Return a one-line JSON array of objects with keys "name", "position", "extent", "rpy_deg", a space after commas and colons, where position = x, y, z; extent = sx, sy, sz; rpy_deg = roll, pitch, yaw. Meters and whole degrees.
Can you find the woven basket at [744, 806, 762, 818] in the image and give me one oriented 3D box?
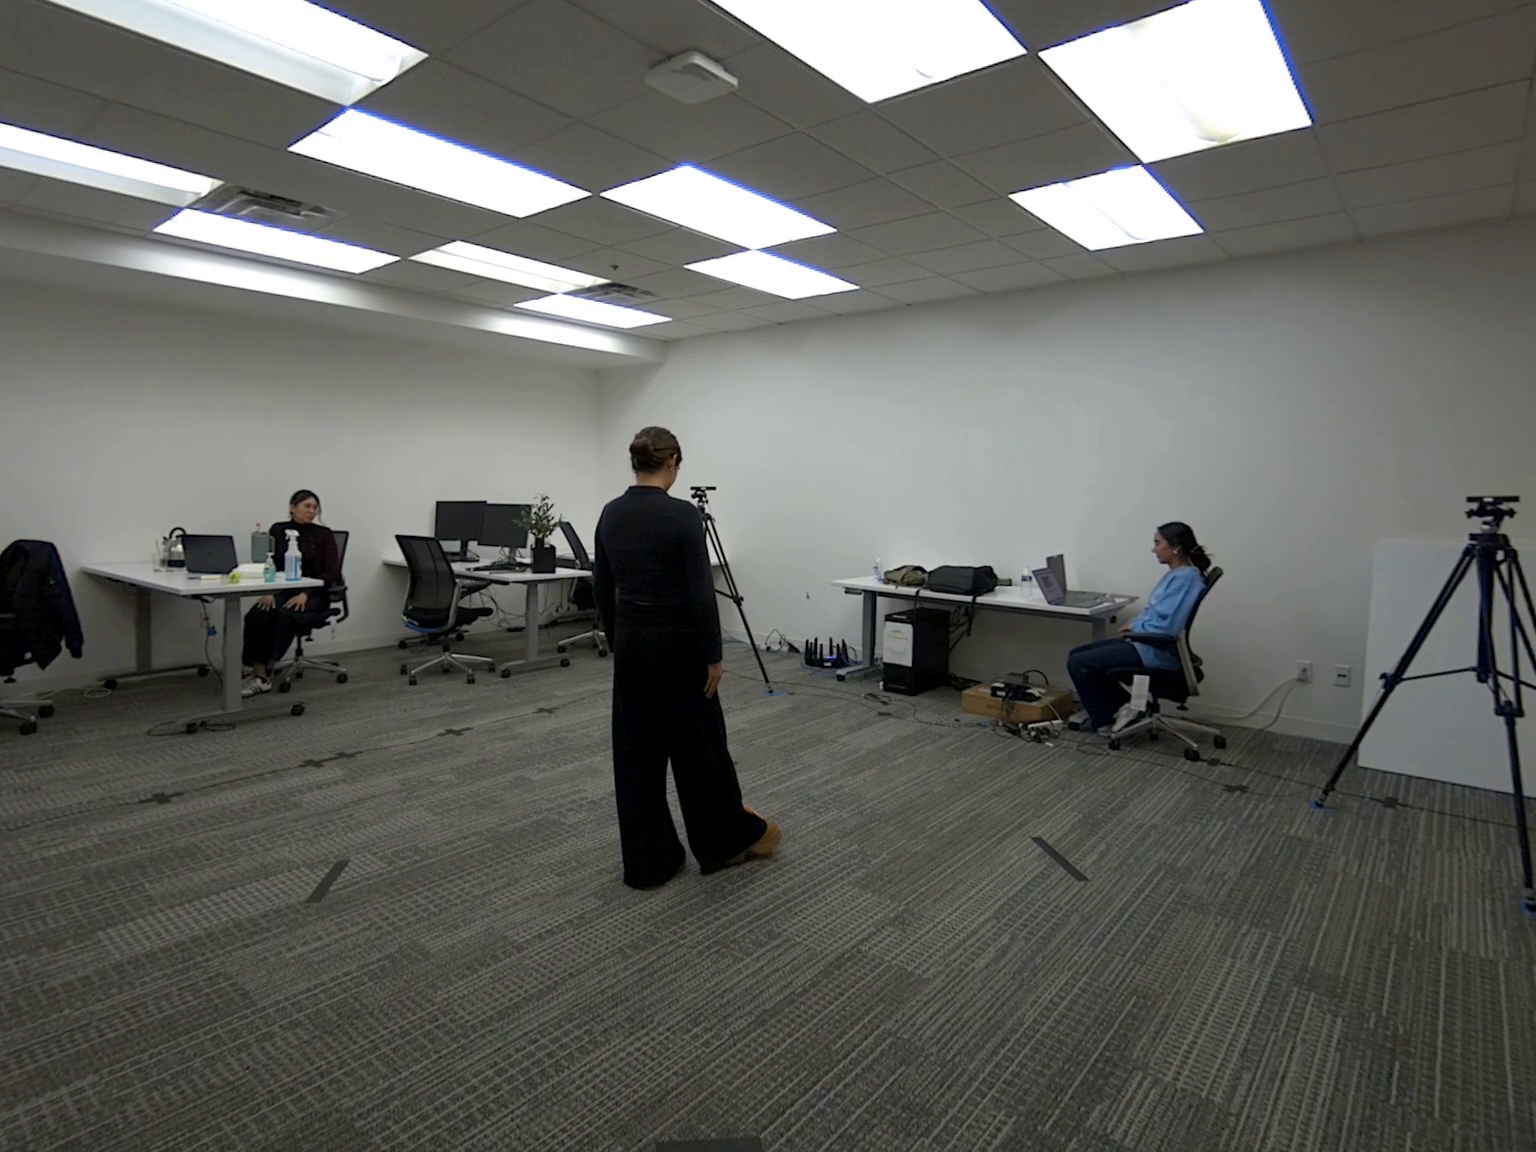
[{"name": "woven basket", "position": [-0.168, 0.986, 3.417], "extent": [0.247, 0.073, 0.357], "rpy_deg": [1, 1, -20]}]
